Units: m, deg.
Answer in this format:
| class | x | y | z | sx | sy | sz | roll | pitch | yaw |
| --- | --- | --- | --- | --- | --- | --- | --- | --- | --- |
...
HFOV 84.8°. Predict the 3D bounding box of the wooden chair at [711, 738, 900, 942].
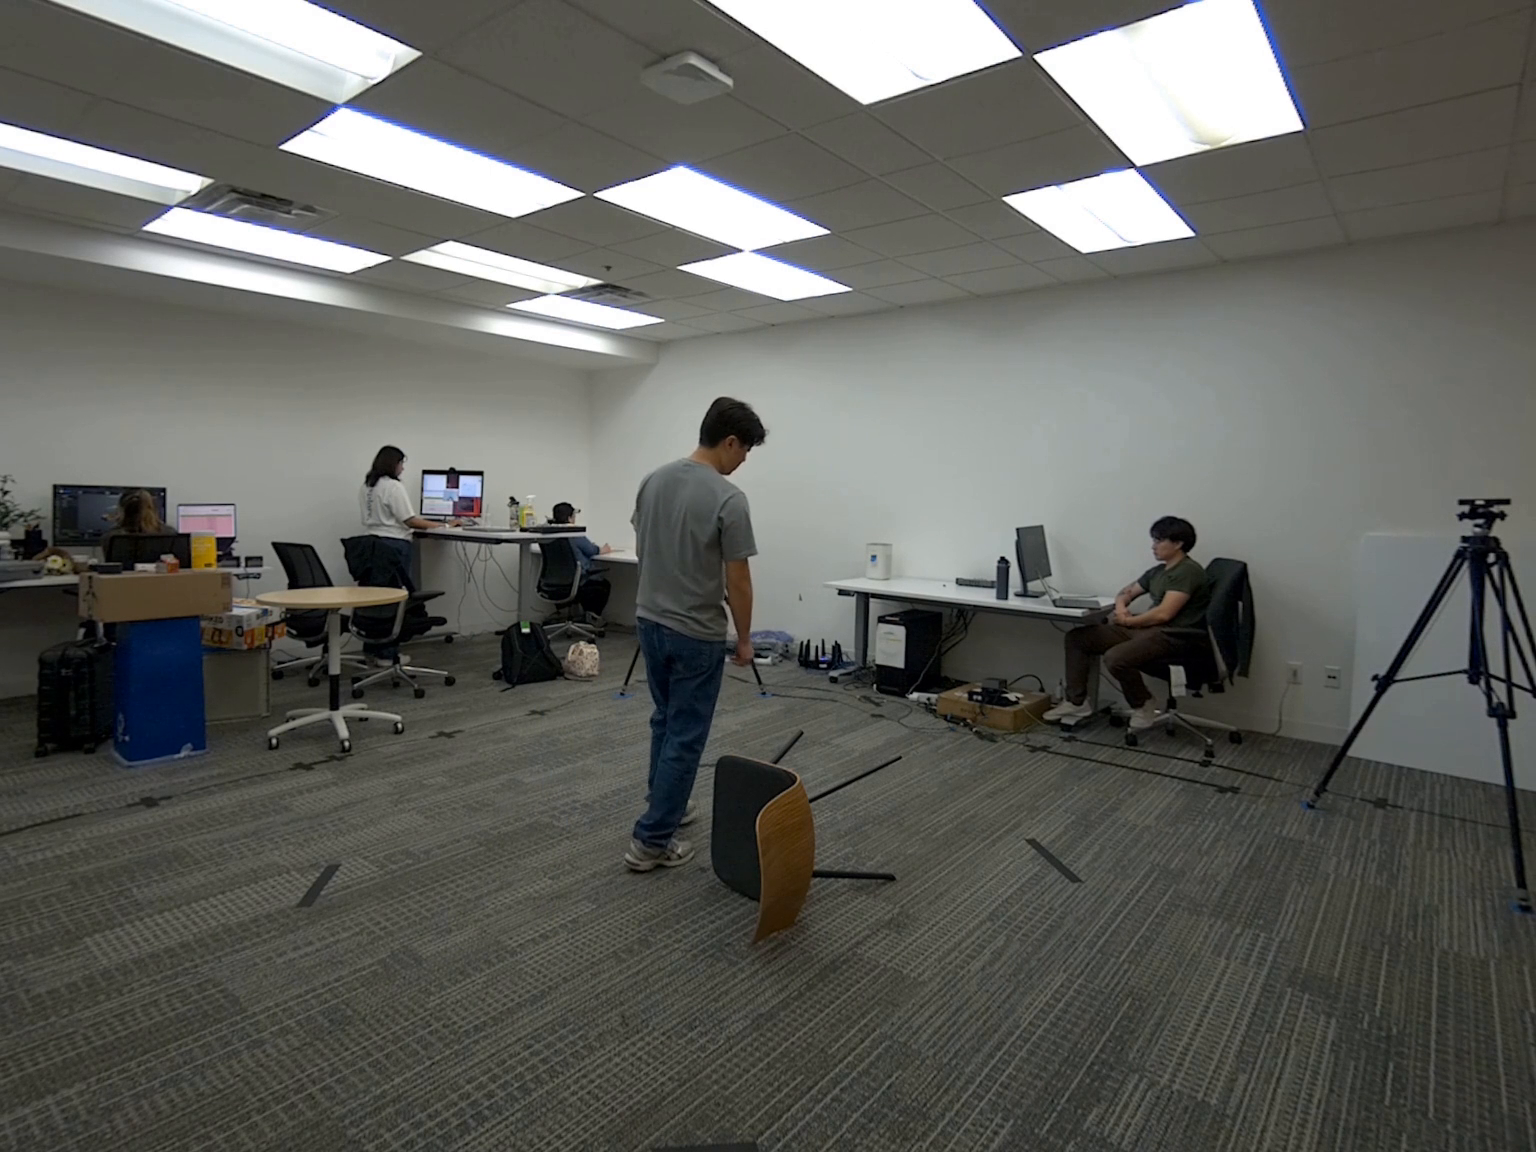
| class | x | y | z | sx | sy | sz | roll | pitch | yaw |
| --- | --- | --- | --- | --- | --- | --- | --- | --- | --- |
| wooden chair | 0.010 | 0.862 | 2.894 | 0.540 | 0.476 | 0.852 | 5 | 5 | 35 |
